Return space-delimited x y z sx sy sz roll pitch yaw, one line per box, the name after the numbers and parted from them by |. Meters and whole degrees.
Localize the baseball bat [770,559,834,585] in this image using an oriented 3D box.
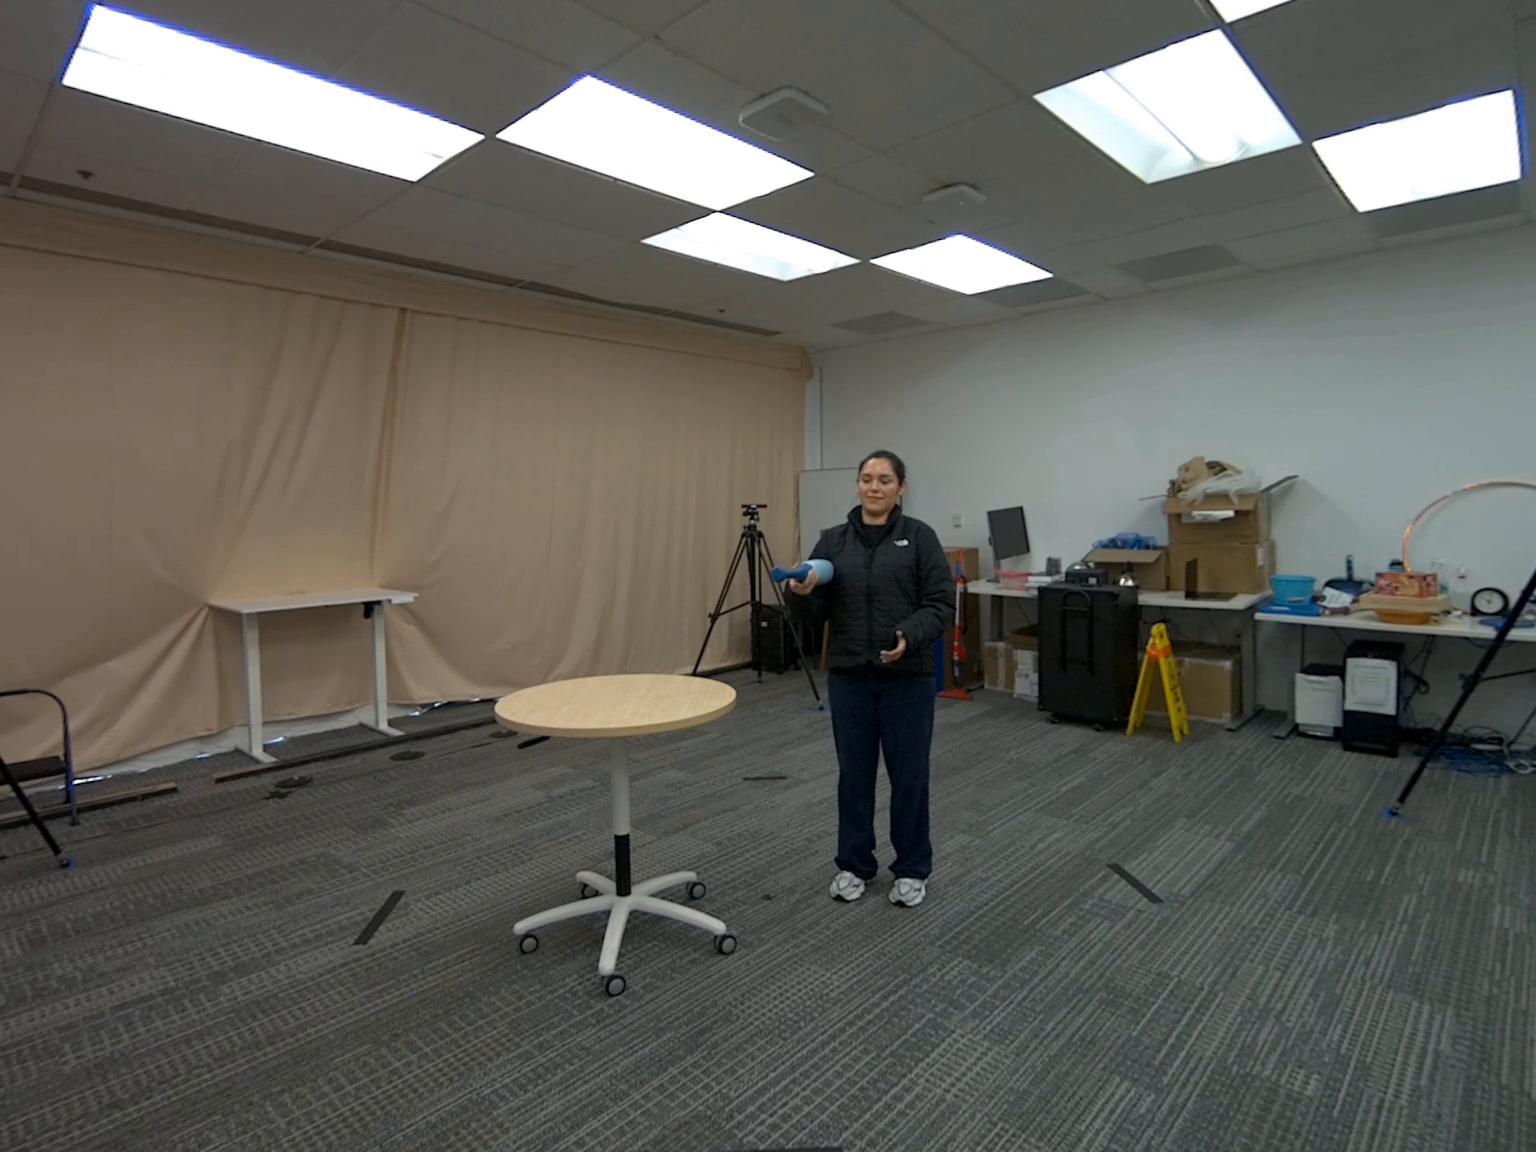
0.127 -0.013 2.728 0.091 0.089 0.532 0 2 17 | baseball bat
